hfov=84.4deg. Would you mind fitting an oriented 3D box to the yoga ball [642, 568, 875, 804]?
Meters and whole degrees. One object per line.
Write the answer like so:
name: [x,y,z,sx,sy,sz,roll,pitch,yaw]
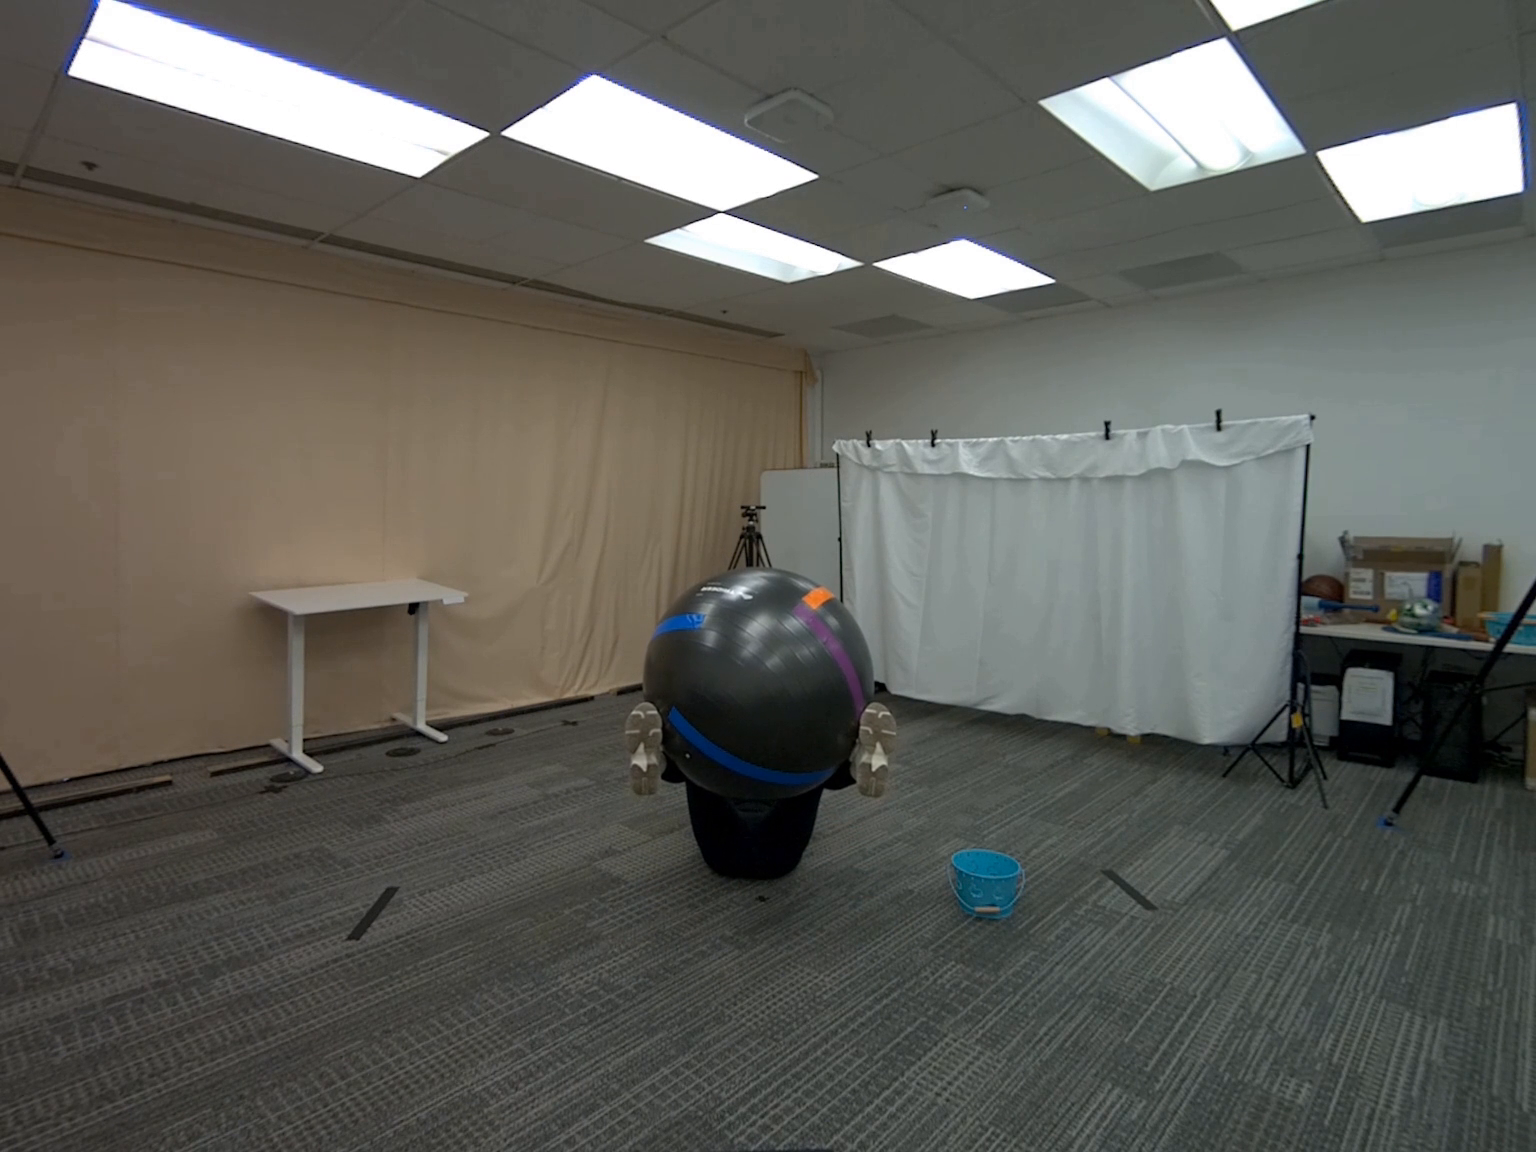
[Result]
yoga ball: [-0.040,0.352,2.770,0.757,0.756,0.760,0,4,-2]
